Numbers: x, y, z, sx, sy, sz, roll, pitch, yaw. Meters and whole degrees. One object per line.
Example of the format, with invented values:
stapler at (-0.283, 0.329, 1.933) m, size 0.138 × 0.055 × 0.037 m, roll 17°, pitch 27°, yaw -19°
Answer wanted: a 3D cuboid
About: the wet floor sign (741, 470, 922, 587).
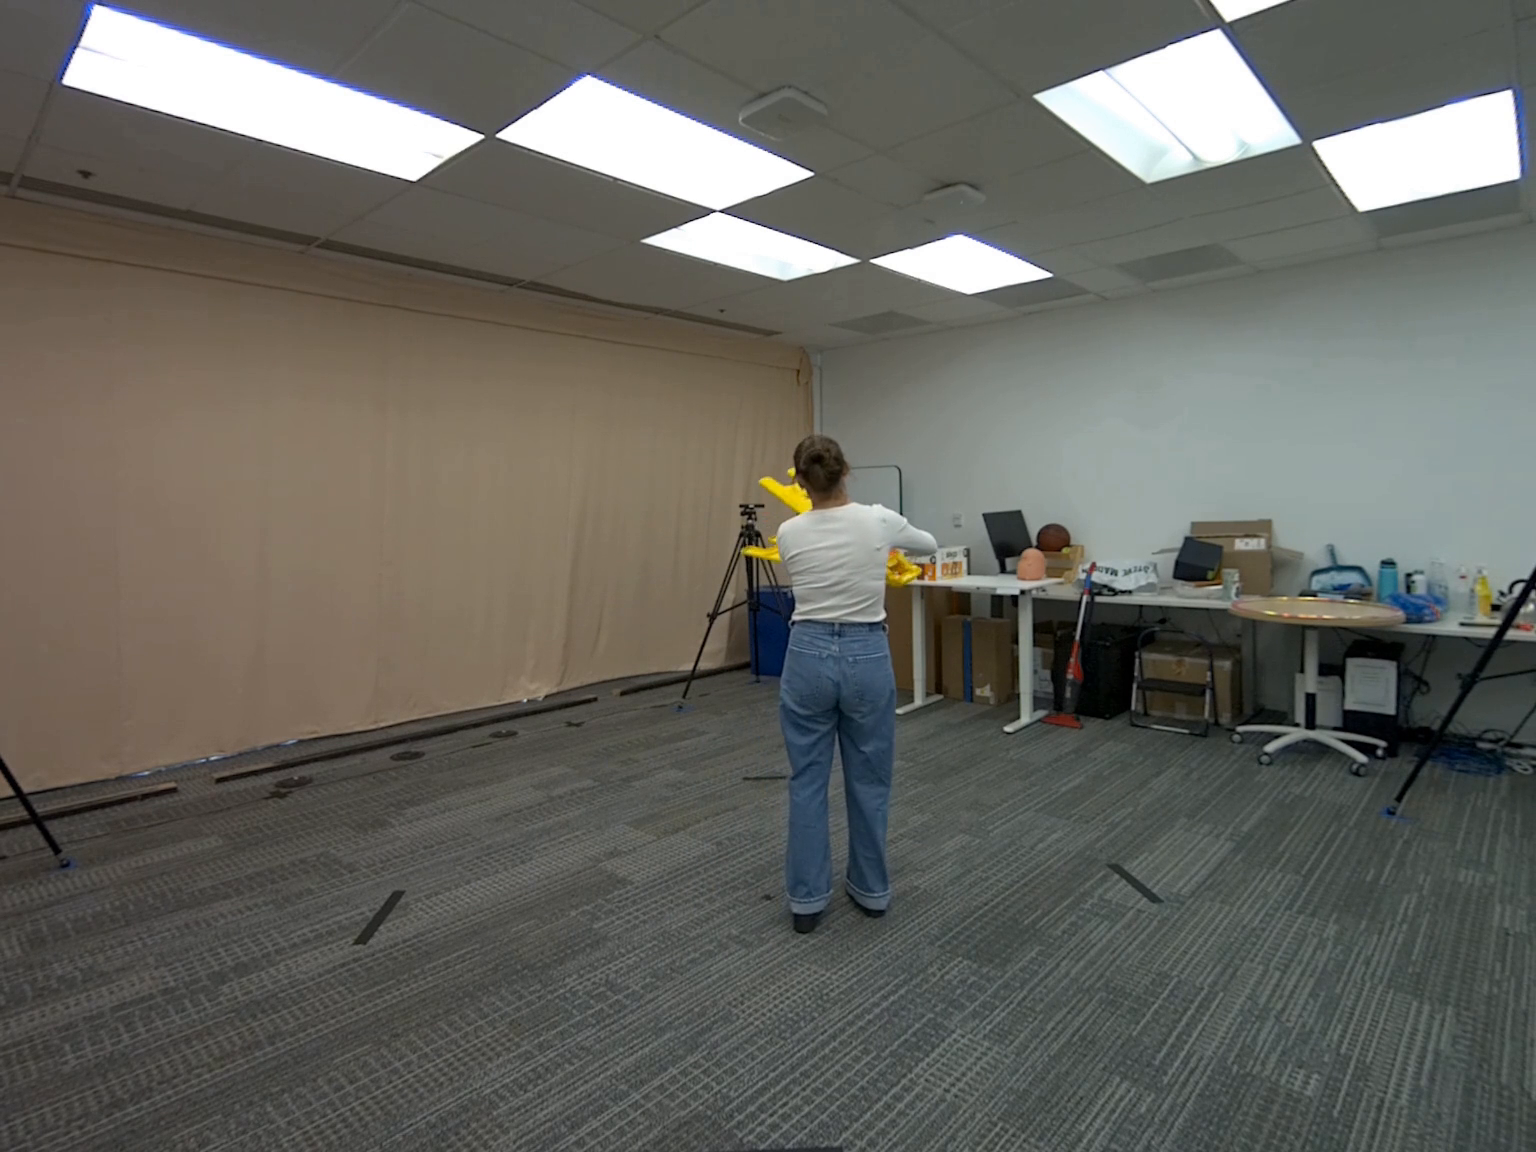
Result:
wet floor sign at (0.267, -0.118, 3.192) m, size 0.666 × 0.287 × 0.276 m, roll 30°, pitch 30°, yaw 27°
